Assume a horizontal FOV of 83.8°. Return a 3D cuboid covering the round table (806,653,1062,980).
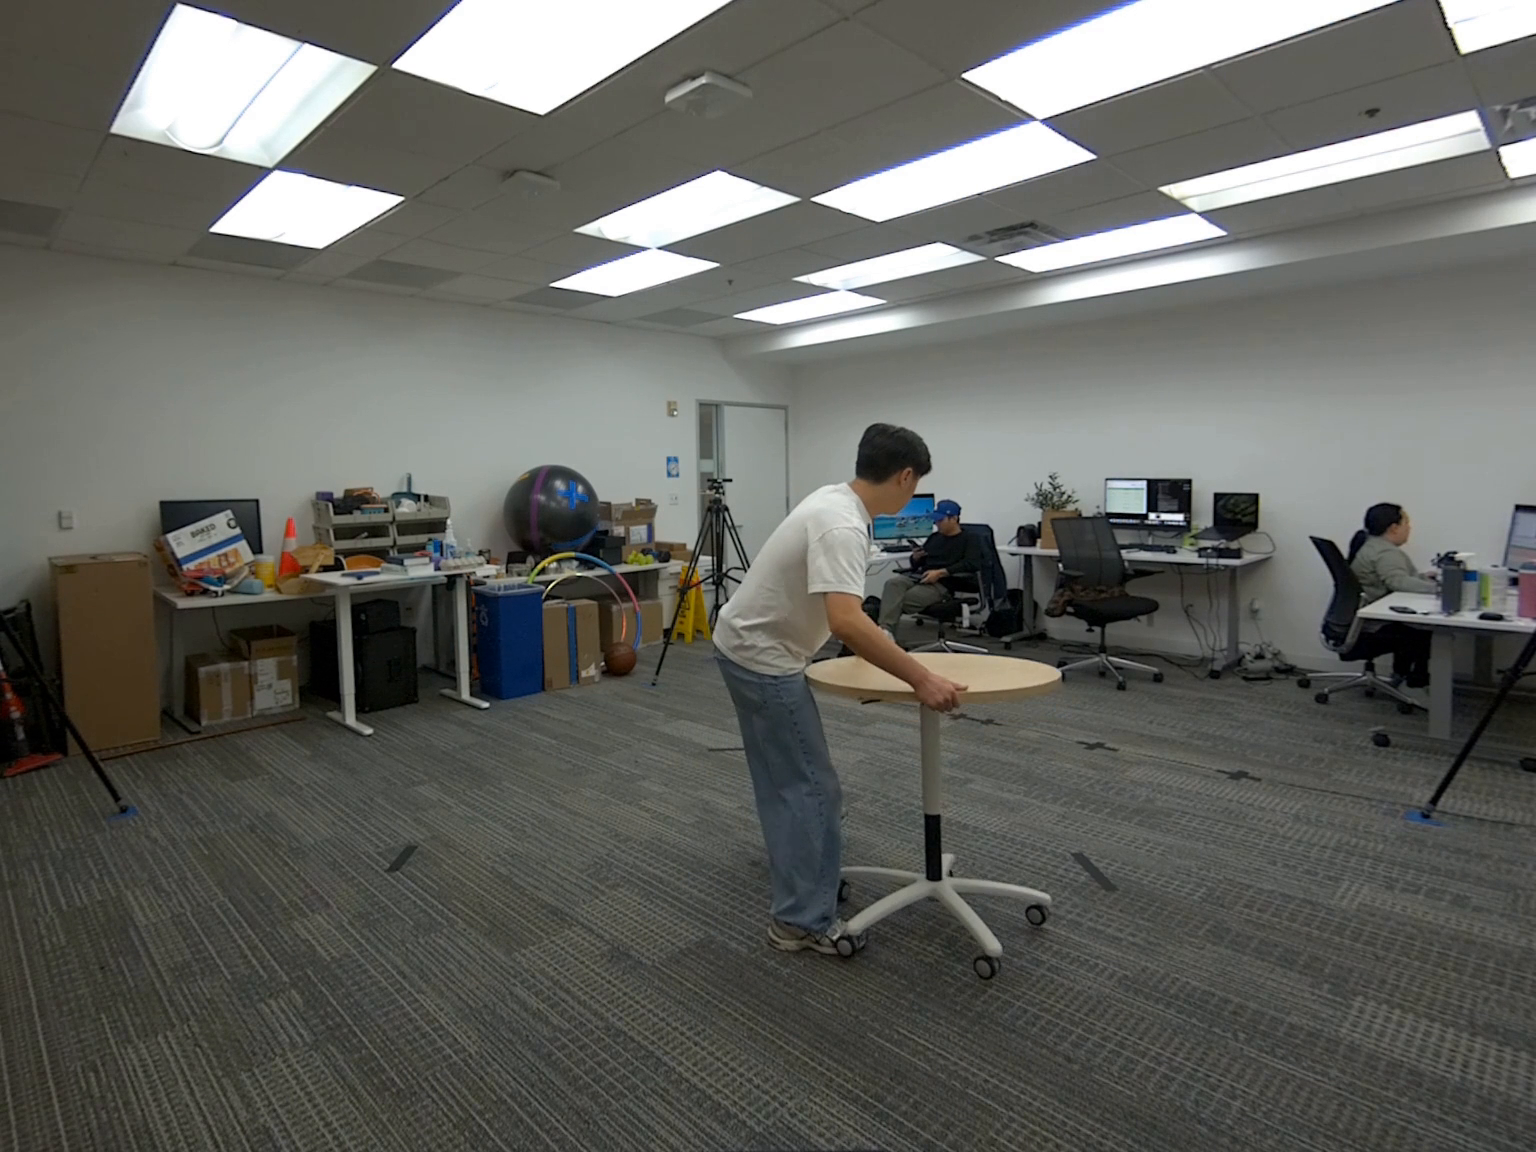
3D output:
[{"bbox_3d":[0.513,0.683,2.643,0.763,0.794,0.765,-2,1,-2],"label":"round table"}]
